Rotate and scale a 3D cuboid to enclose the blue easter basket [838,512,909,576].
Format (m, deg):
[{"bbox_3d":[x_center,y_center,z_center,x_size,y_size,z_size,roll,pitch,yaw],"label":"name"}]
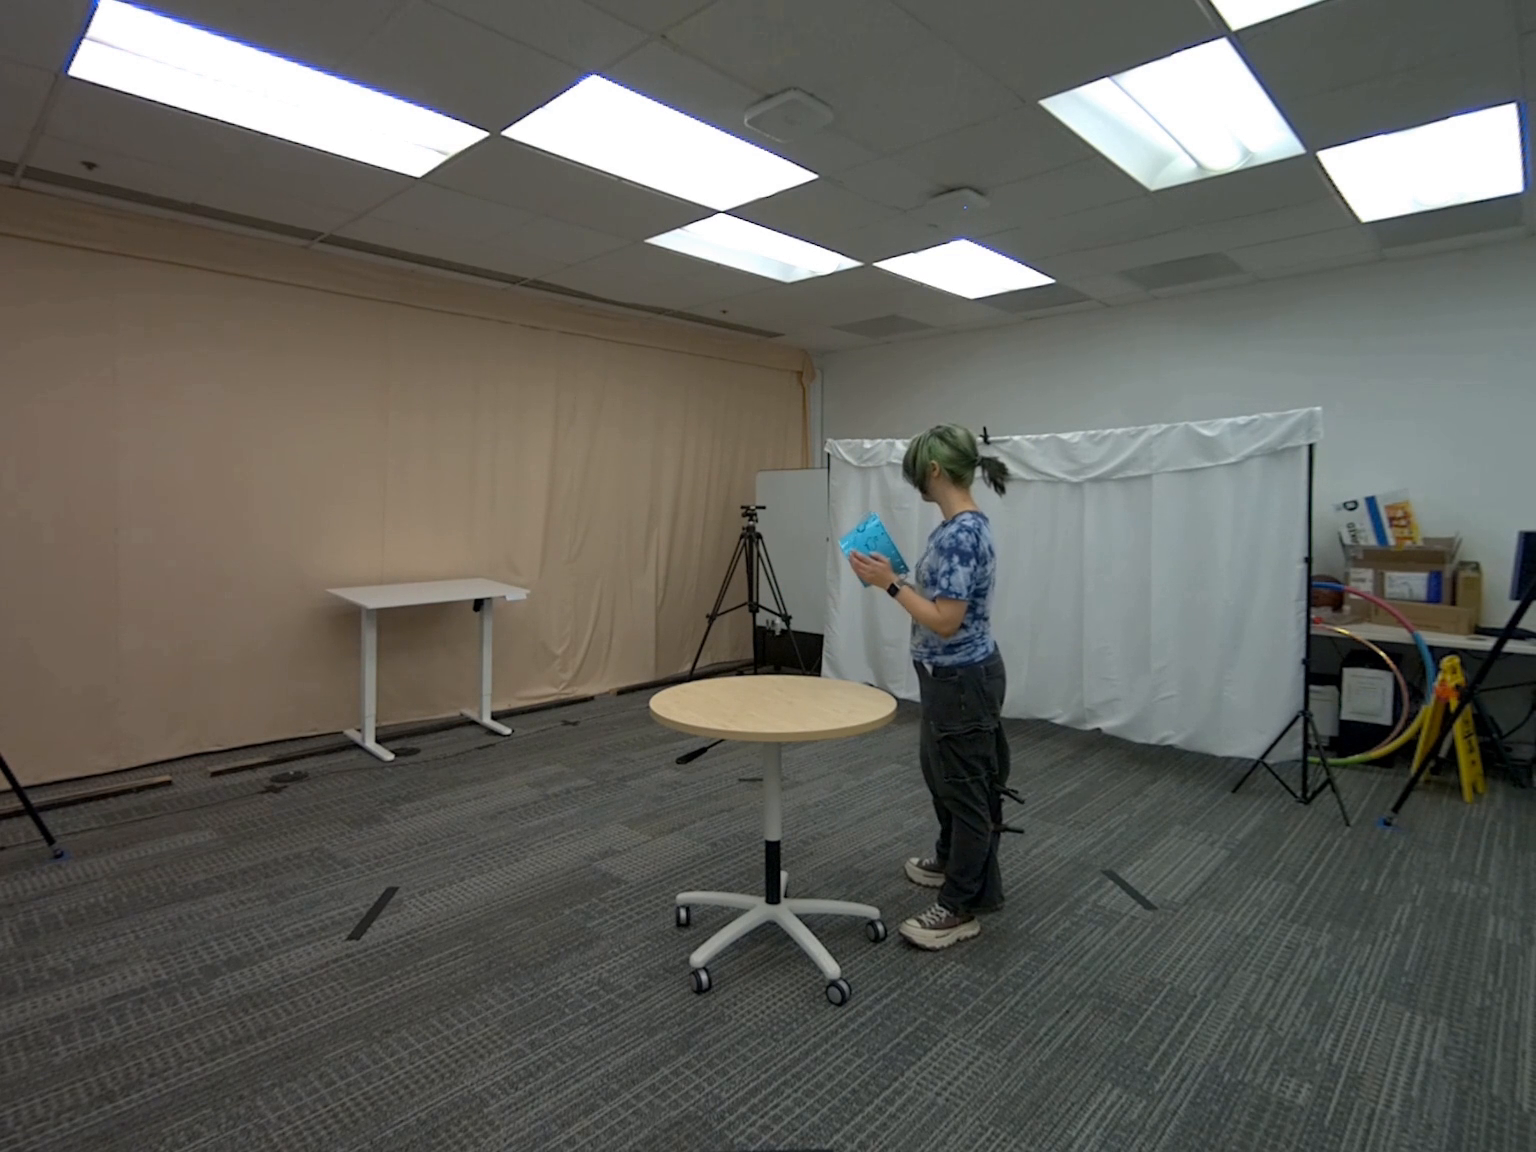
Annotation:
[{"bbox_3d":[0.352,-0.074,2.760,0.157,0.244,0.242,-28,0,7],"label":"blue easter basket"}]
